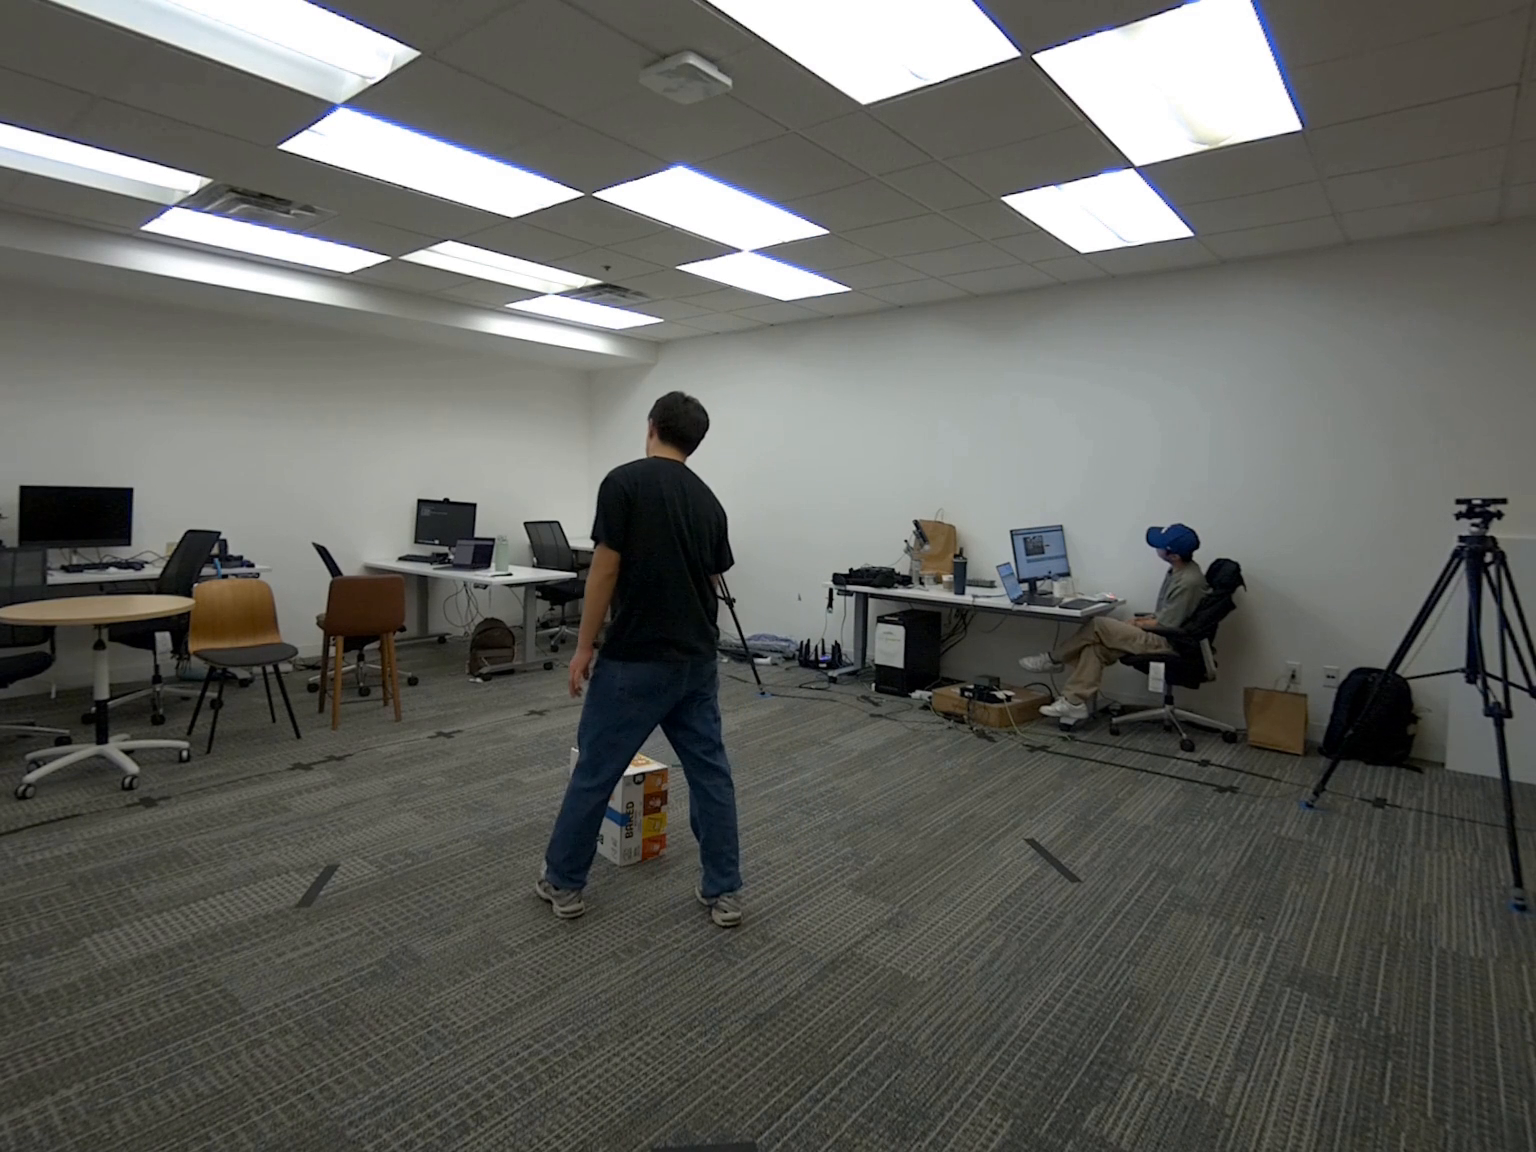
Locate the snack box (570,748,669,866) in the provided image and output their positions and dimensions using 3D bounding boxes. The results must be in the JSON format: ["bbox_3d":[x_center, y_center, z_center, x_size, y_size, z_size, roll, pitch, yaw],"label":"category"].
[{"bbox_3d":[-0.603,0.873,3.325,0.199,0.339,0.419,0,4,-40],"label":"snack box"}]
